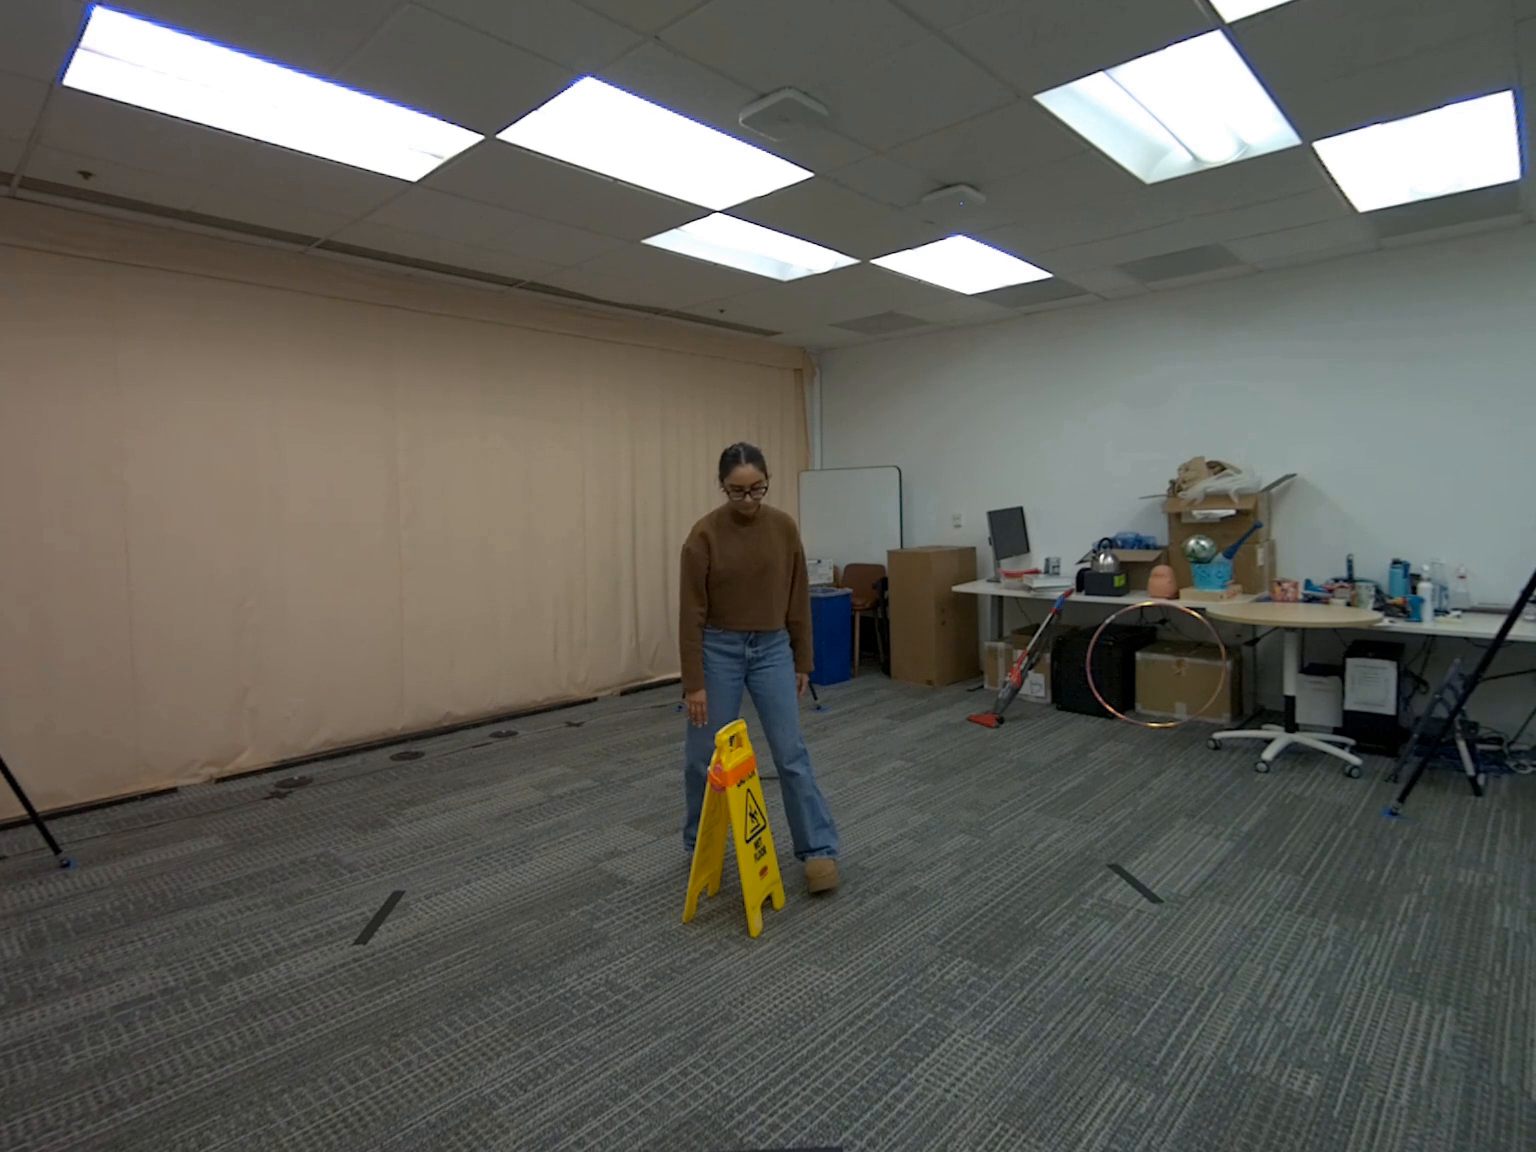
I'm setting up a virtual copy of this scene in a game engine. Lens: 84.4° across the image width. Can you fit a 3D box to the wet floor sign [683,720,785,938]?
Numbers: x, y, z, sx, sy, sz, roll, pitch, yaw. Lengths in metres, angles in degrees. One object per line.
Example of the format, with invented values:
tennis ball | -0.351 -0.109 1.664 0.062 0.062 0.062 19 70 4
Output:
wet floor sign | -0.123 0.829 2.861 0.297 0.645 0.276 1 3 23
